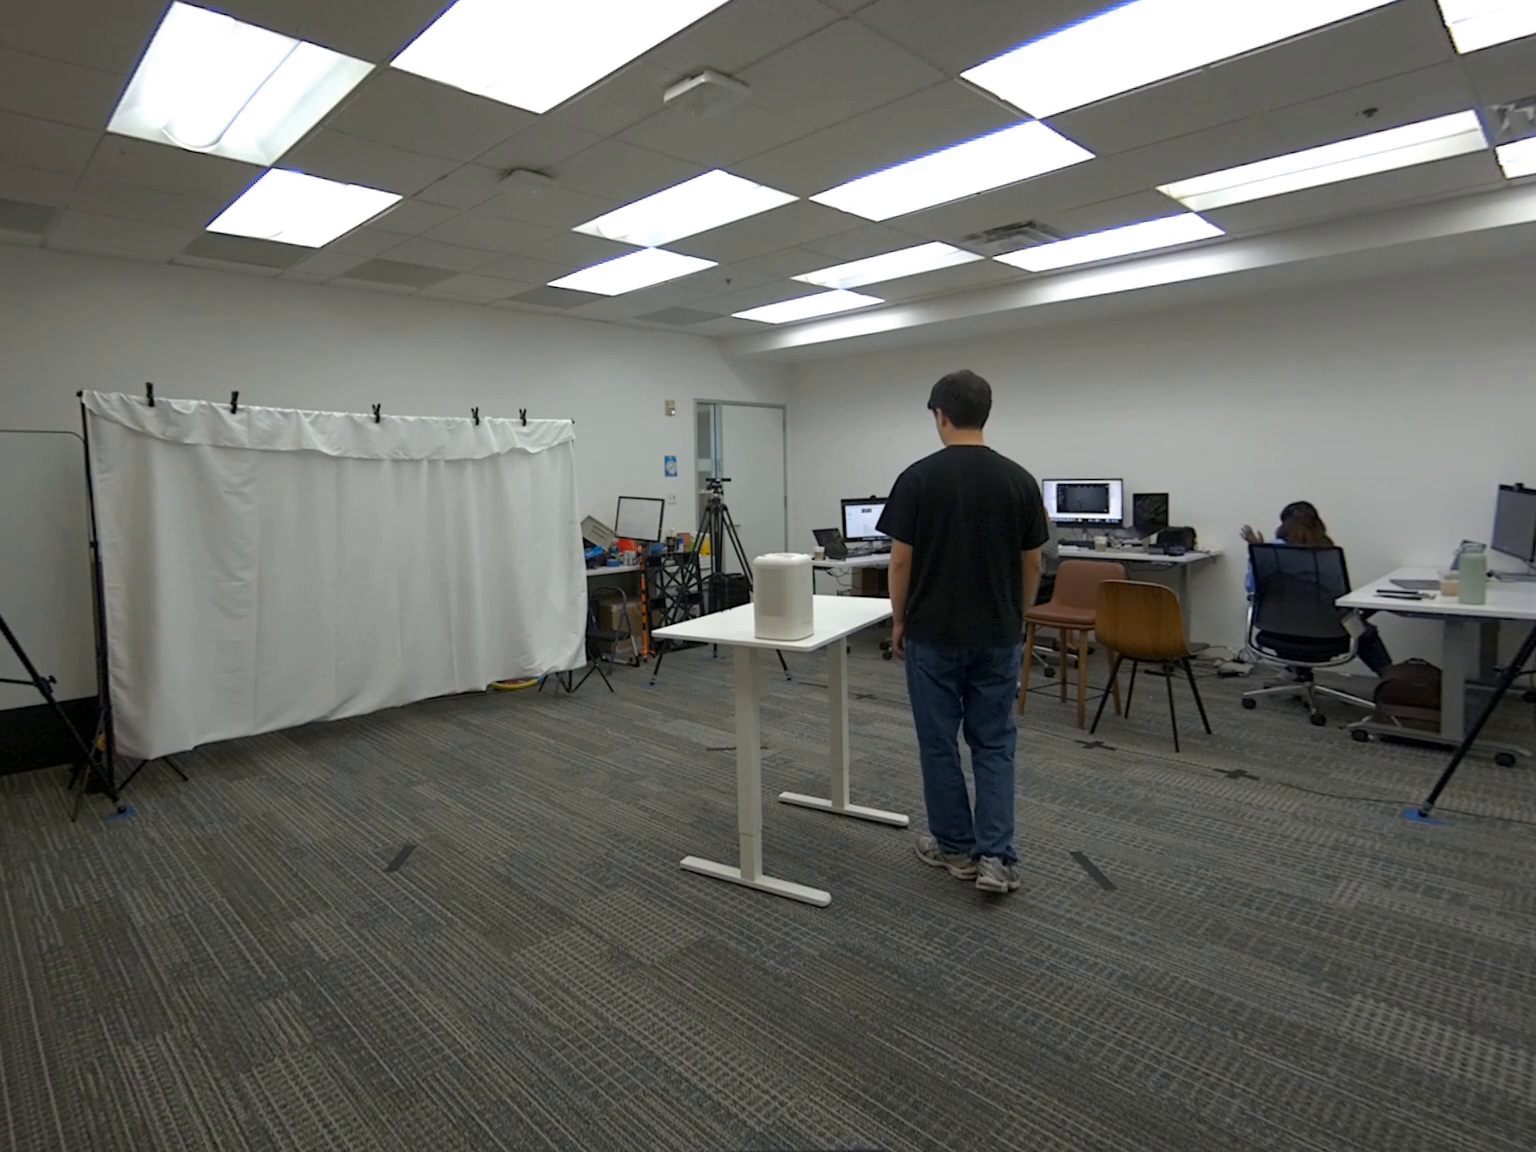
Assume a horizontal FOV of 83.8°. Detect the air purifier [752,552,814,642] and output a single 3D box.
[{"bbox_3d":[0.049,0.066,2.780,0.175,0.264,0.168,1,5,25],"label":"air purifier"}]
